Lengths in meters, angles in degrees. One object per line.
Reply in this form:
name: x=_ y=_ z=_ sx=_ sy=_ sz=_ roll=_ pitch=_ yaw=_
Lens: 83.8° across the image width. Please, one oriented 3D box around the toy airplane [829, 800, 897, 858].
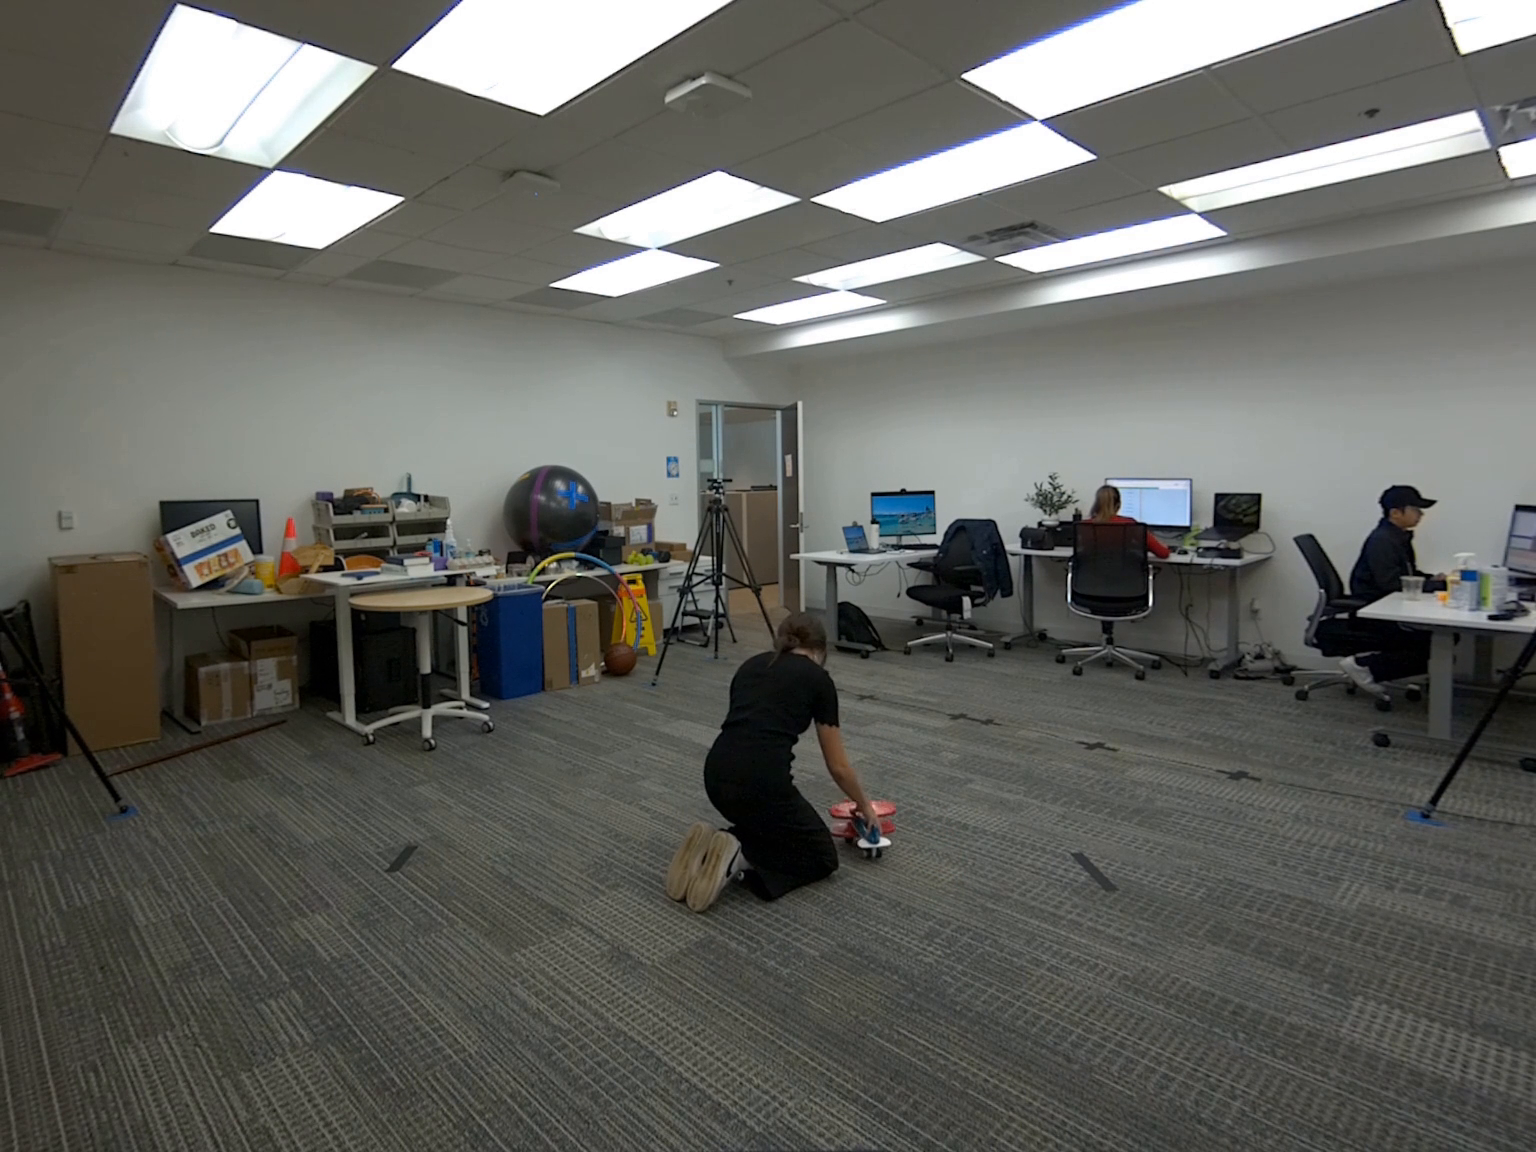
toy airplane: x=0.376 y=0.948 z=3.209 sx=0.244 sy=0.156 sz=0.266 roll=-2 pitch=1 yaw=-34
